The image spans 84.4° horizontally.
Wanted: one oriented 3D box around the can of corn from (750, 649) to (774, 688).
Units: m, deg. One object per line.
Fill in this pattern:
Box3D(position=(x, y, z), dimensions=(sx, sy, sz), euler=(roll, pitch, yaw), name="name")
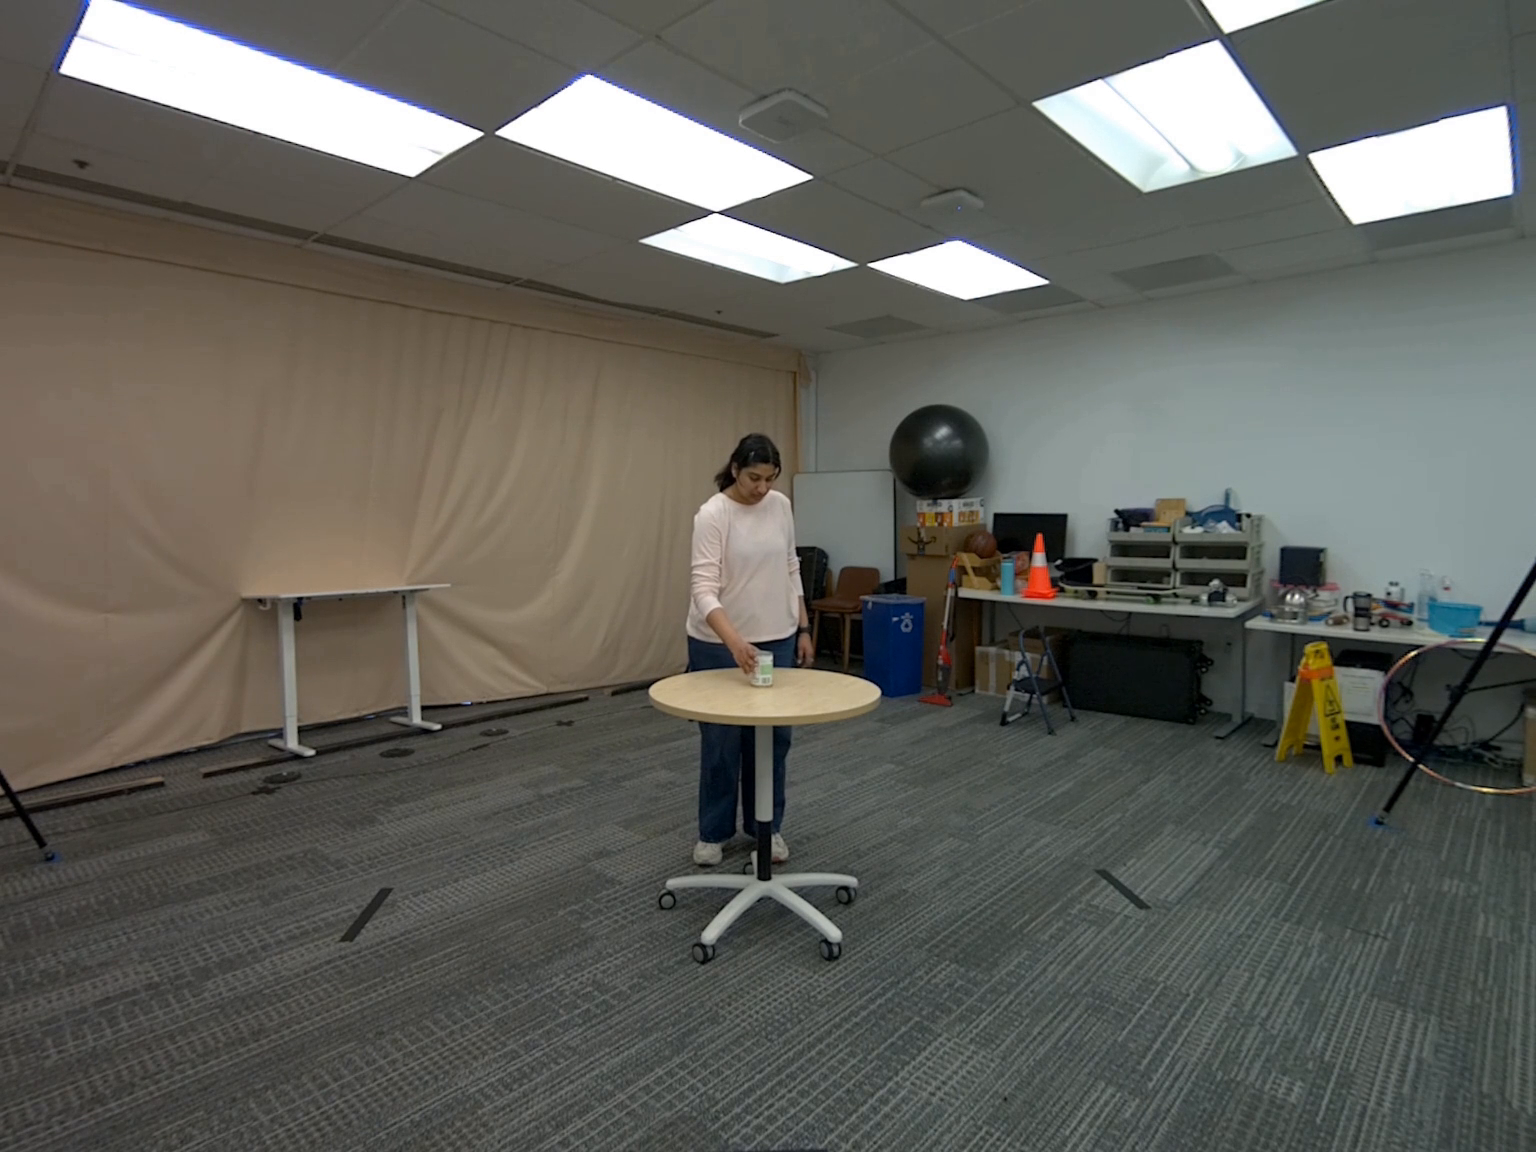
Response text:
Box3D(position=(-0.017, 0.316, 2.848), dimensions=(0.074, 0.111, 0.074), euler=(1, 0, -2), name="can of corn")
